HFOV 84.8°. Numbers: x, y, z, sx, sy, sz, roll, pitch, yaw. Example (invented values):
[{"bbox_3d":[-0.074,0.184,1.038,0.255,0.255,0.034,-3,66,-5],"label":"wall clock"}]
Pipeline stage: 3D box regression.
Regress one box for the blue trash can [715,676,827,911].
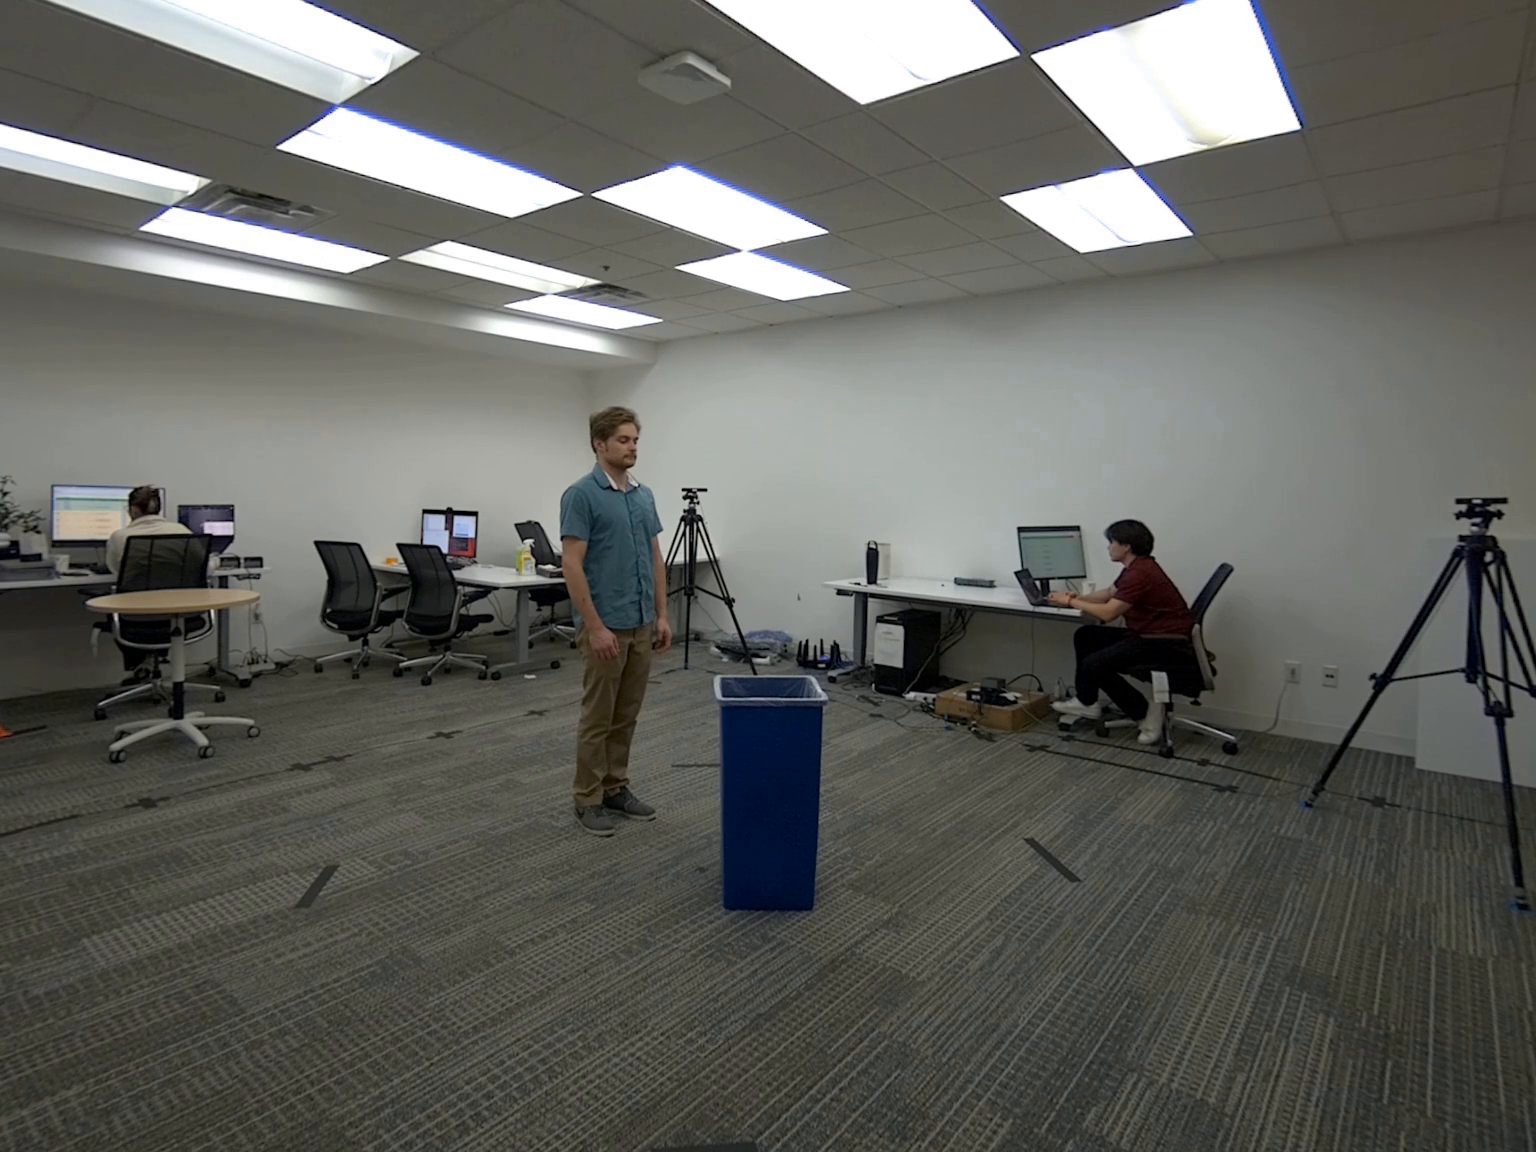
[{"bbox_3d":[-0.013,0.733,2.953,0.377,0.711,0.377,0,4,-4],"label":"blue trash can"}]
